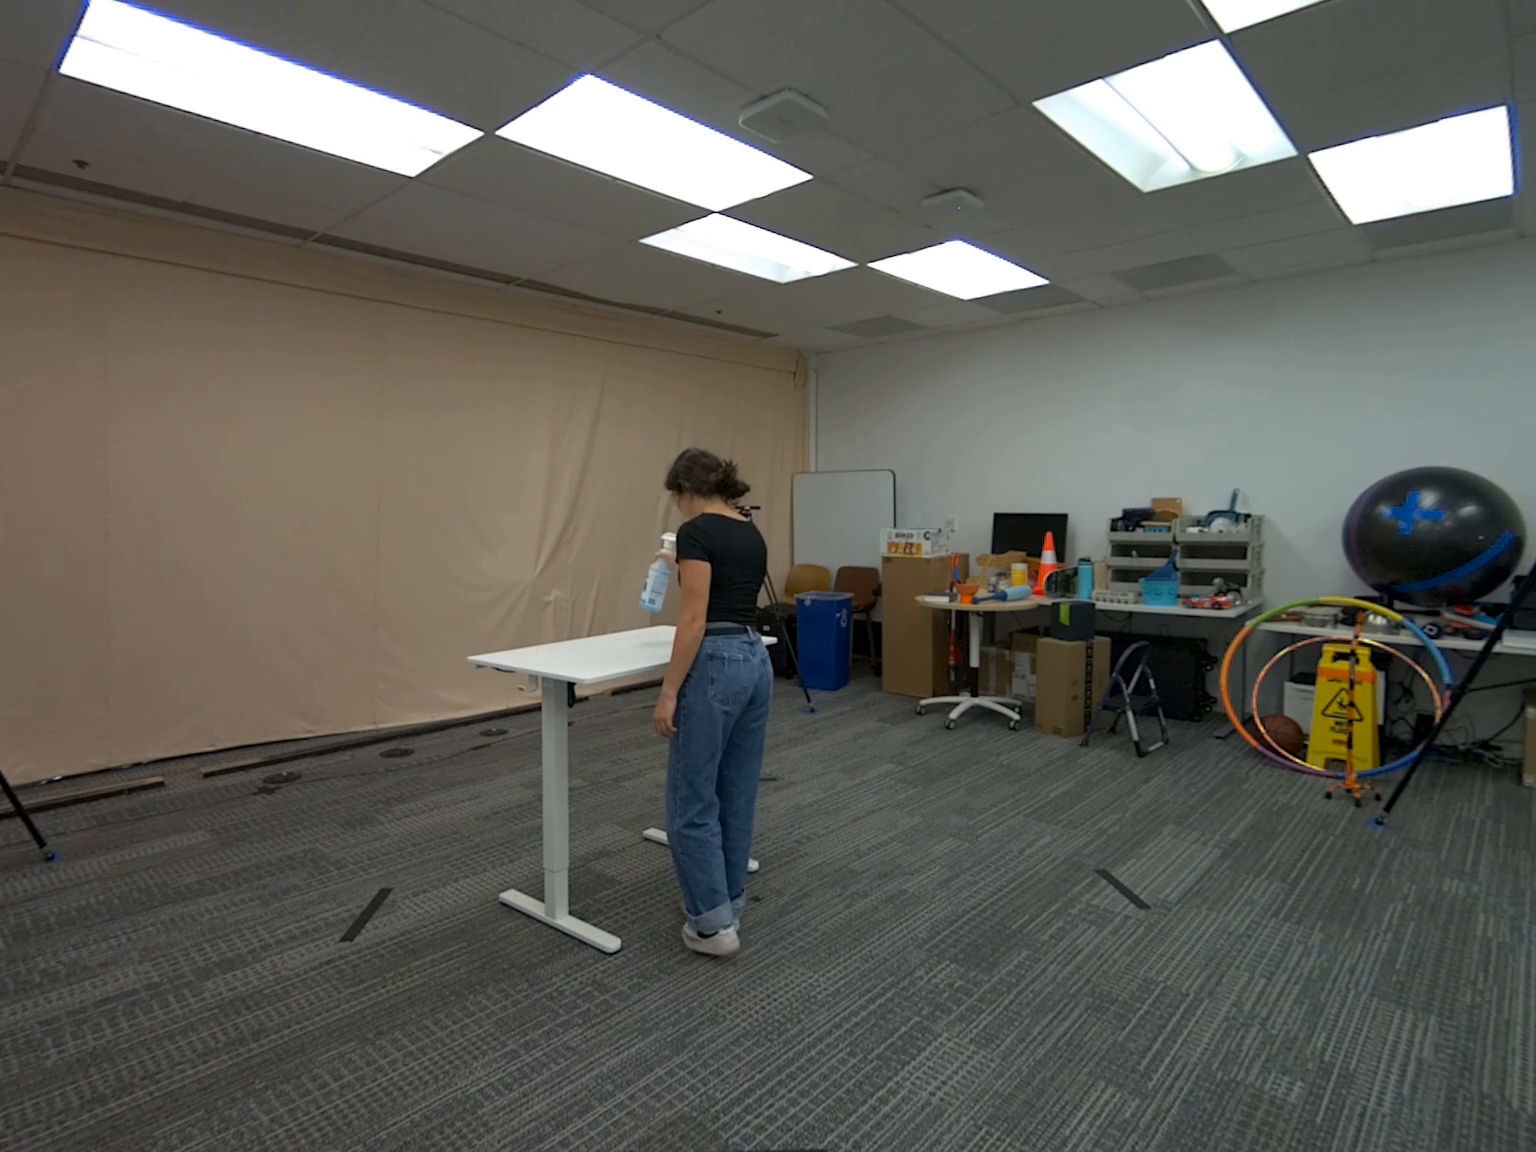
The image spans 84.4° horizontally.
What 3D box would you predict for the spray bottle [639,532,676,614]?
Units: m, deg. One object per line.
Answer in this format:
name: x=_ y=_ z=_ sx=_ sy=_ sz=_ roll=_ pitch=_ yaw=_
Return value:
spray bottle: x=-0.402 y=-0.015 z=3.145 sx=0.084 sy=0.297 sz=0.093 roll=13 pitch=9 yaw=-34
